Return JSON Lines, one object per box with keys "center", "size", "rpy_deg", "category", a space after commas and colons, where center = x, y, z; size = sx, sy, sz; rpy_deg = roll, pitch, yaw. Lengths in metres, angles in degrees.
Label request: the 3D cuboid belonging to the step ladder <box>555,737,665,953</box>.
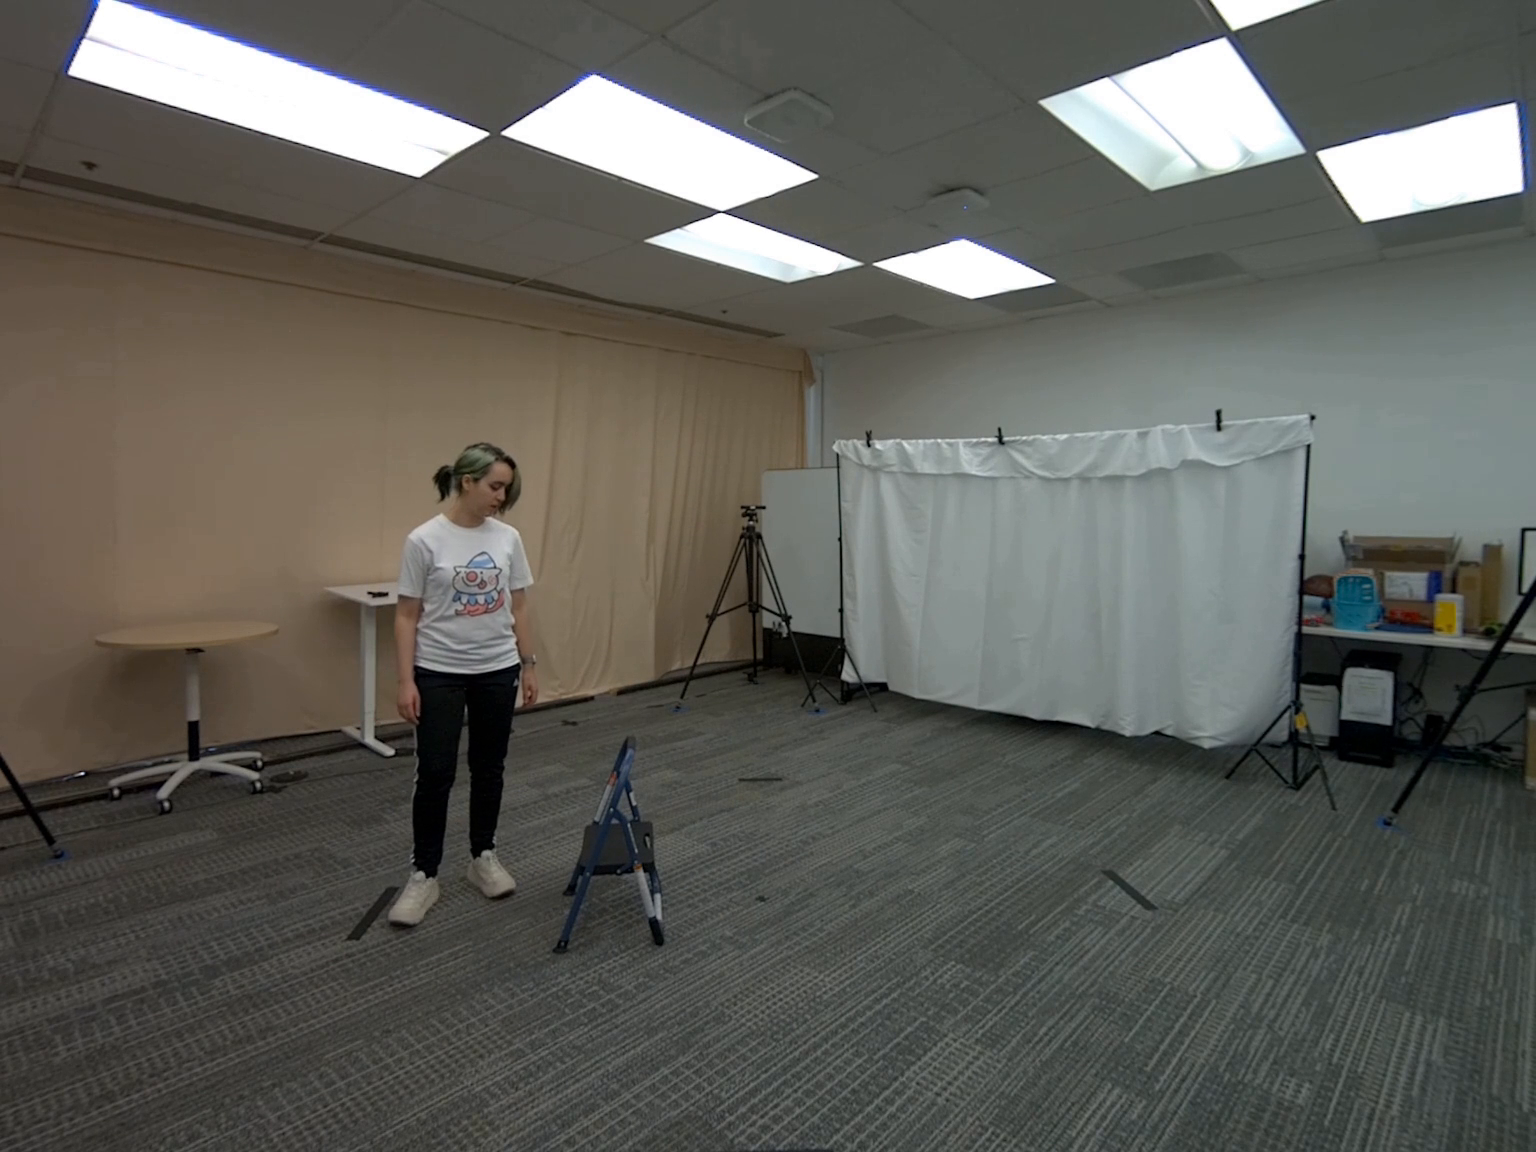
{"center": [-0.531, 0.860, 2.836], "size": [0.347, 0.605, 0.434], "rpy_deg": [-1, 3, -7], "category": "step ladder"}
